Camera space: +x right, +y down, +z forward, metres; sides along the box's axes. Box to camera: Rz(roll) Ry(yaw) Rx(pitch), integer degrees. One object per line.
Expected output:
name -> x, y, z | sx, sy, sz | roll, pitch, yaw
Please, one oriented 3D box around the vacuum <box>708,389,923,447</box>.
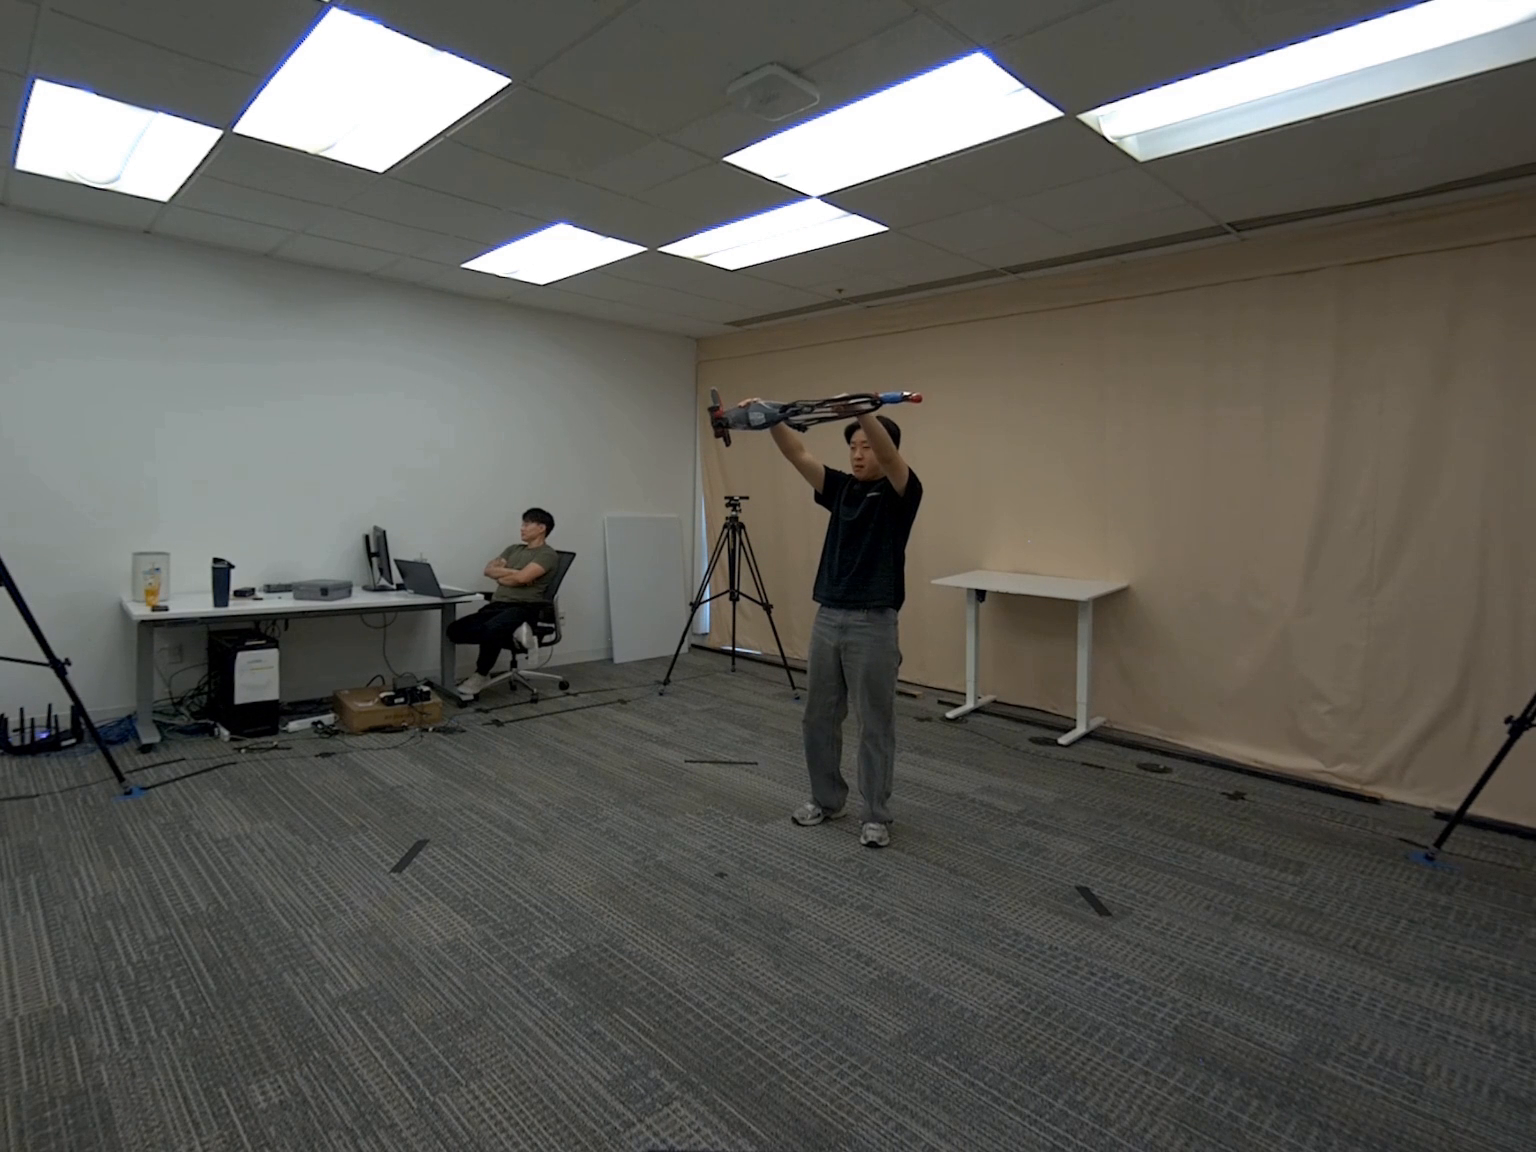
vacuum -> 0.134, -0.604, 3.087 | 0.143, 0.248, 1.076 | -30, 23, -34
